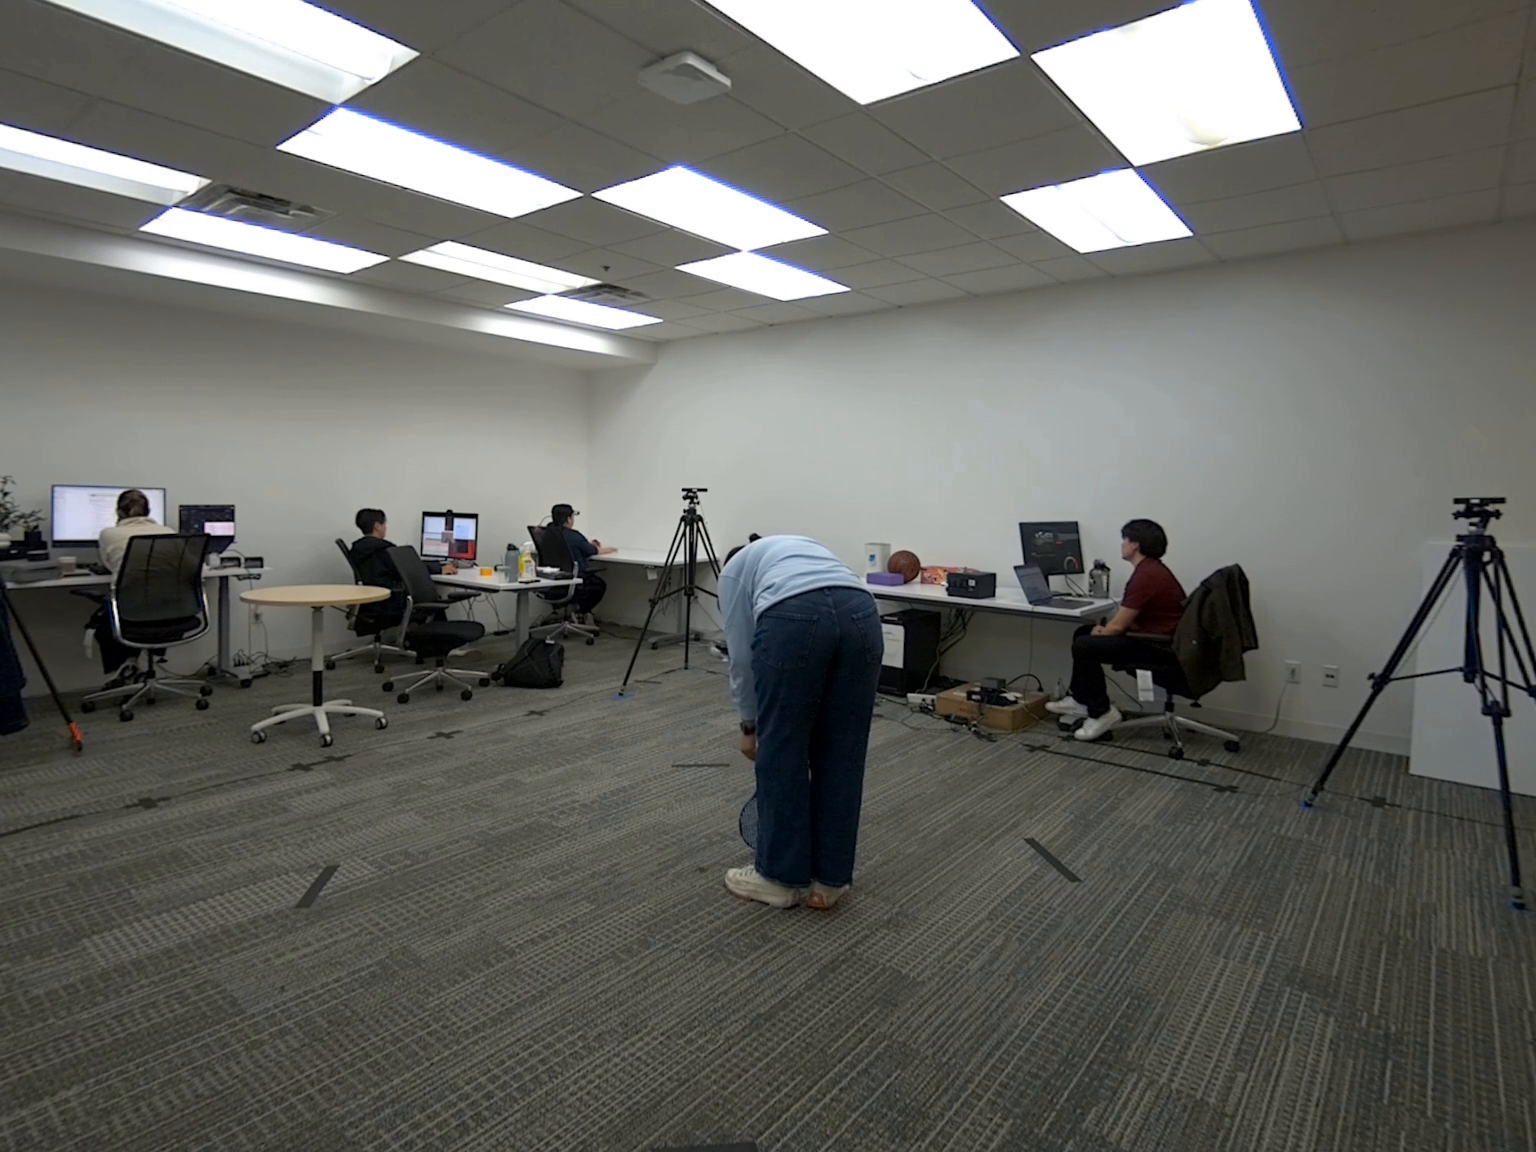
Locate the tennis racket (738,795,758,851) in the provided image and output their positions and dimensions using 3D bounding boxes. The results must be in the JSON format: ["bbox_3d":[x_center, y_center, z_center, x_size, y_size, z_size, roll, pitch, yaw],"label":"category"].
[{"bbox_3d":[-0.025,0.864,3.192,0.213,0.426,0.032,-4,16,-5],"label":"tennis racket"}]
